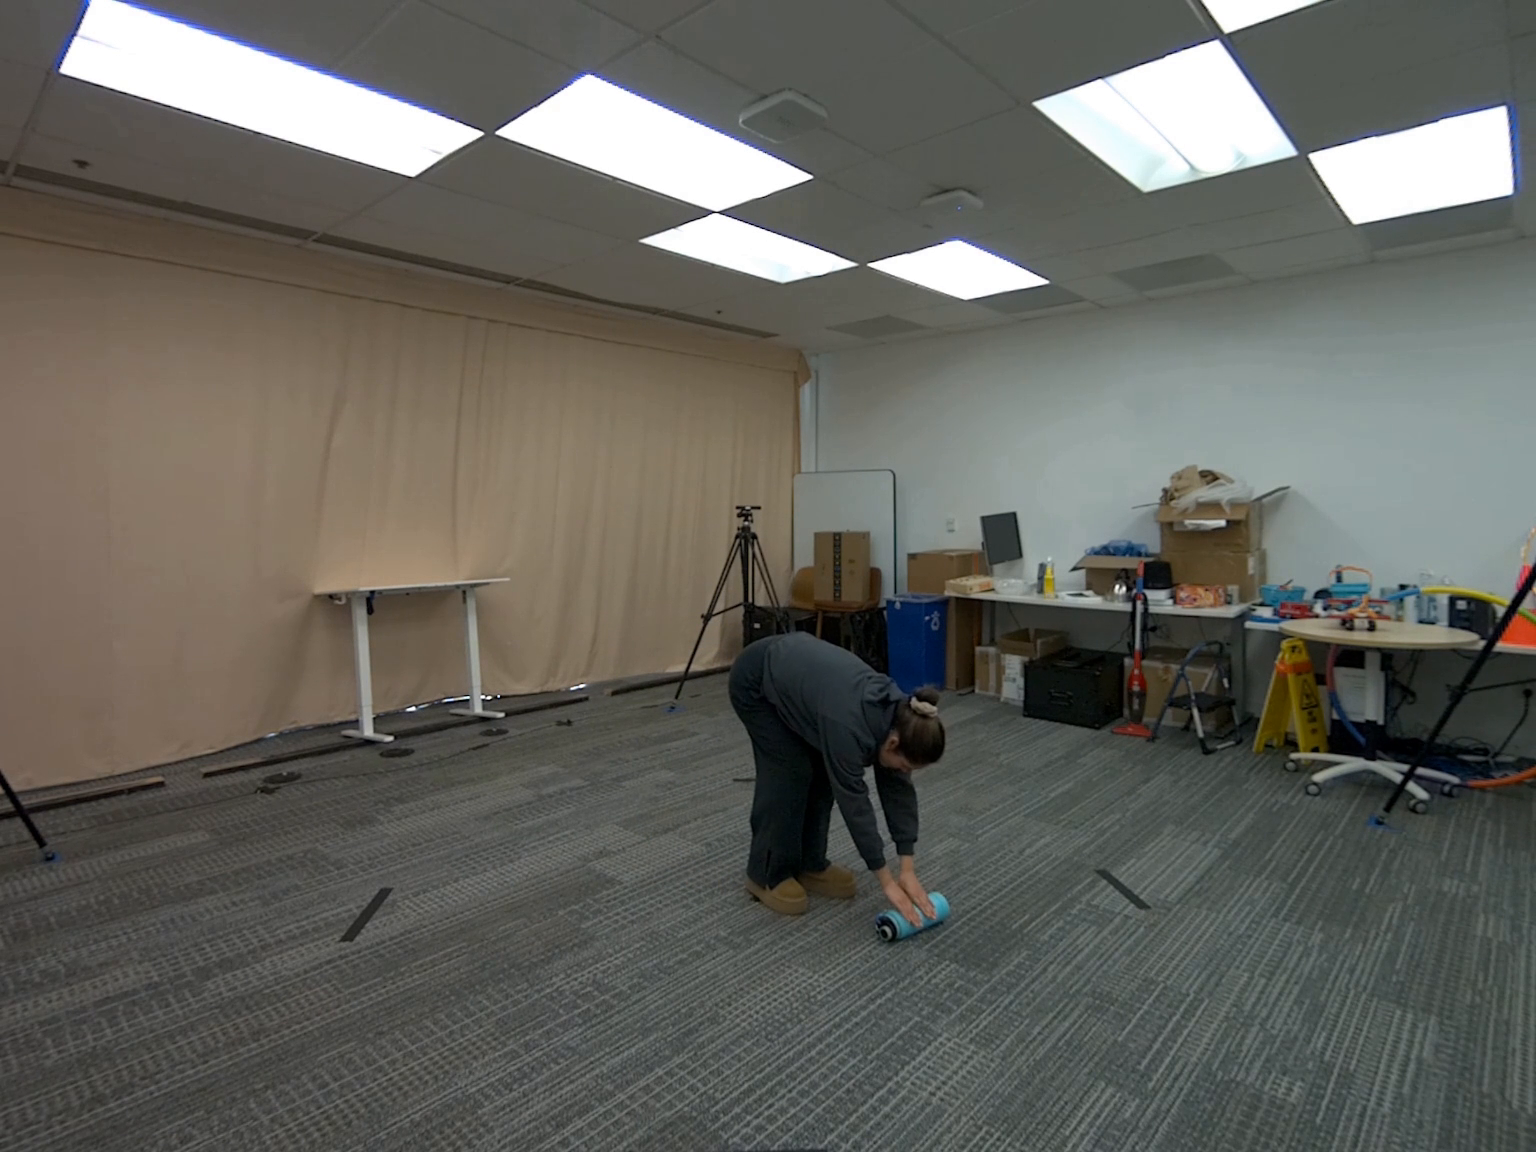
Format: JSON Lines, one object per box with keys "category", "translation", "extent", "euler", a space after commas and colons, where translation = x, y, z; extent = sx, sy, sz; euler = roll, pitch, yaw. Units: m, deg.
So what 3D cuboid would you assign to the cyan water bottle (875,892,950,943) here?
{"category": "cyan water bottle", "translation": [0.494, 1.116, 2.746], "extent": [0.275, 0.092, 0.095], "euler": [-6, 6, -34]}
